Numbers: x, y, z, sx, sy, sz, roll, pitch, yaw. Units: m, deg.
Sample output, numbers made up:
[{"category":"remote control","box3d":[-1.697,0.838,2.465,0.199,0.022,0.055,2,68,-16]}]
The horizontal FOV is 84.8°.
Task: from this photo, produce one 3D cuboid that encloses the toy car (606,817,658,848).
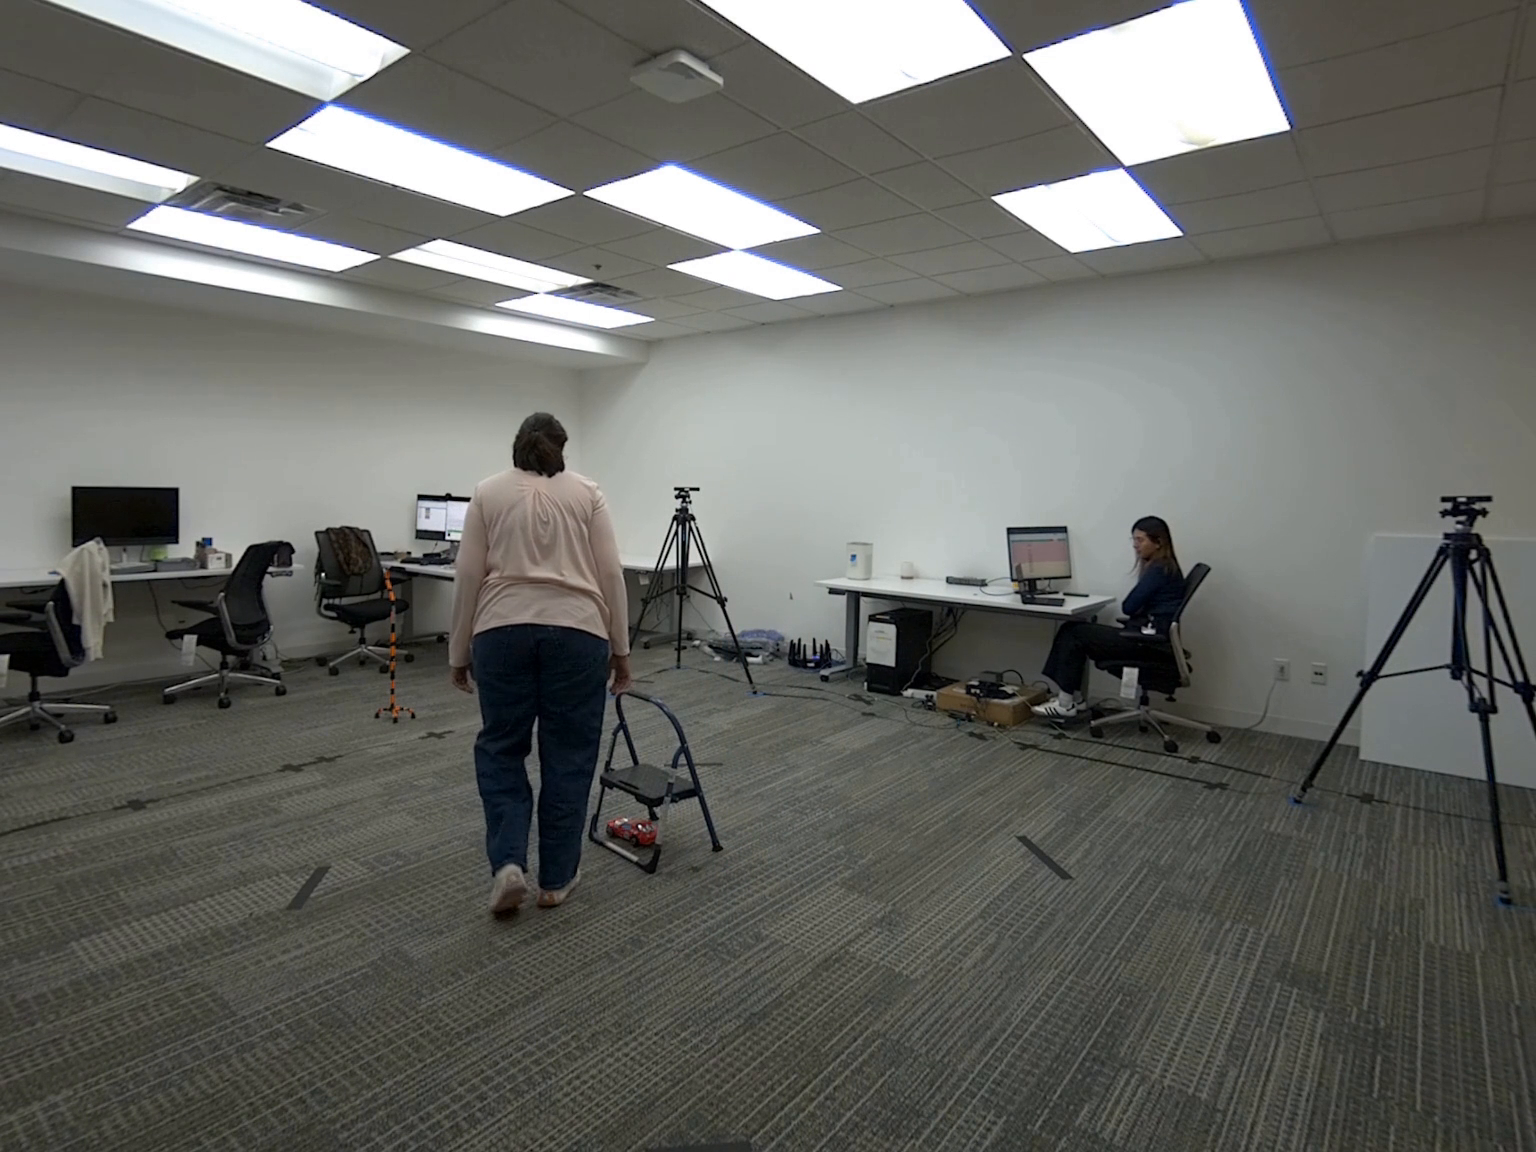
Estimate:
[{"category":"toy car","box3d":[-0.530,0.999,3.349,0.261,0.083,0.126,-9,-3,41]}]
